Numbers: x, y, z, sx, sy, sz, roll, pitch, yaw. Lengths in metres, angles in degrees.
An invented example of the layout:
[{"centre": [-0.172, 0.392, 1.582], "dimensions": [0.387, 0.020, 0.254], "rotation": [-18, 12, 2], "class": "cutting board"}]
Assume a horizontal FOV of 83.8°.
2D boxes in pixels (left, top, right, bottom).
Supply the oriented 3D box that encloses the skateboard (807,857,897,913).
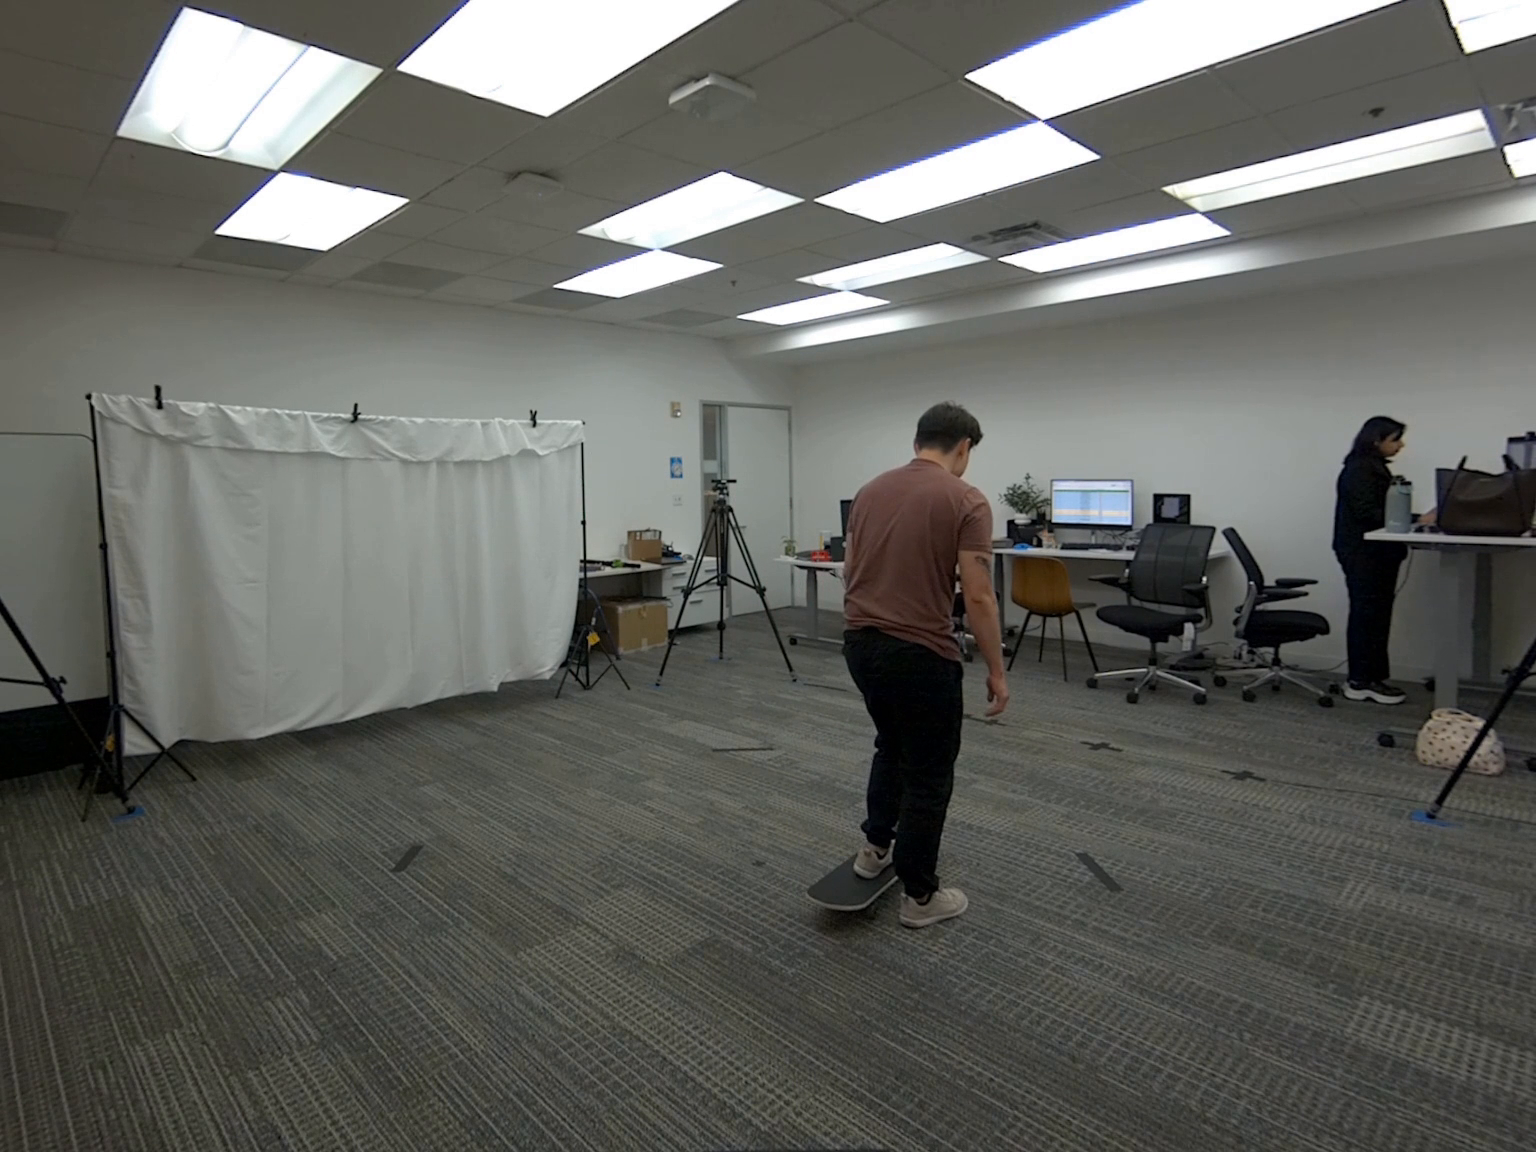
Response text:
[{"centre": [0.387, 1.008, 2.908], "dimensions": [0.199, 0.110, 0.767], "rotation": [3, 8, 35], "class": "skateboard"}]
